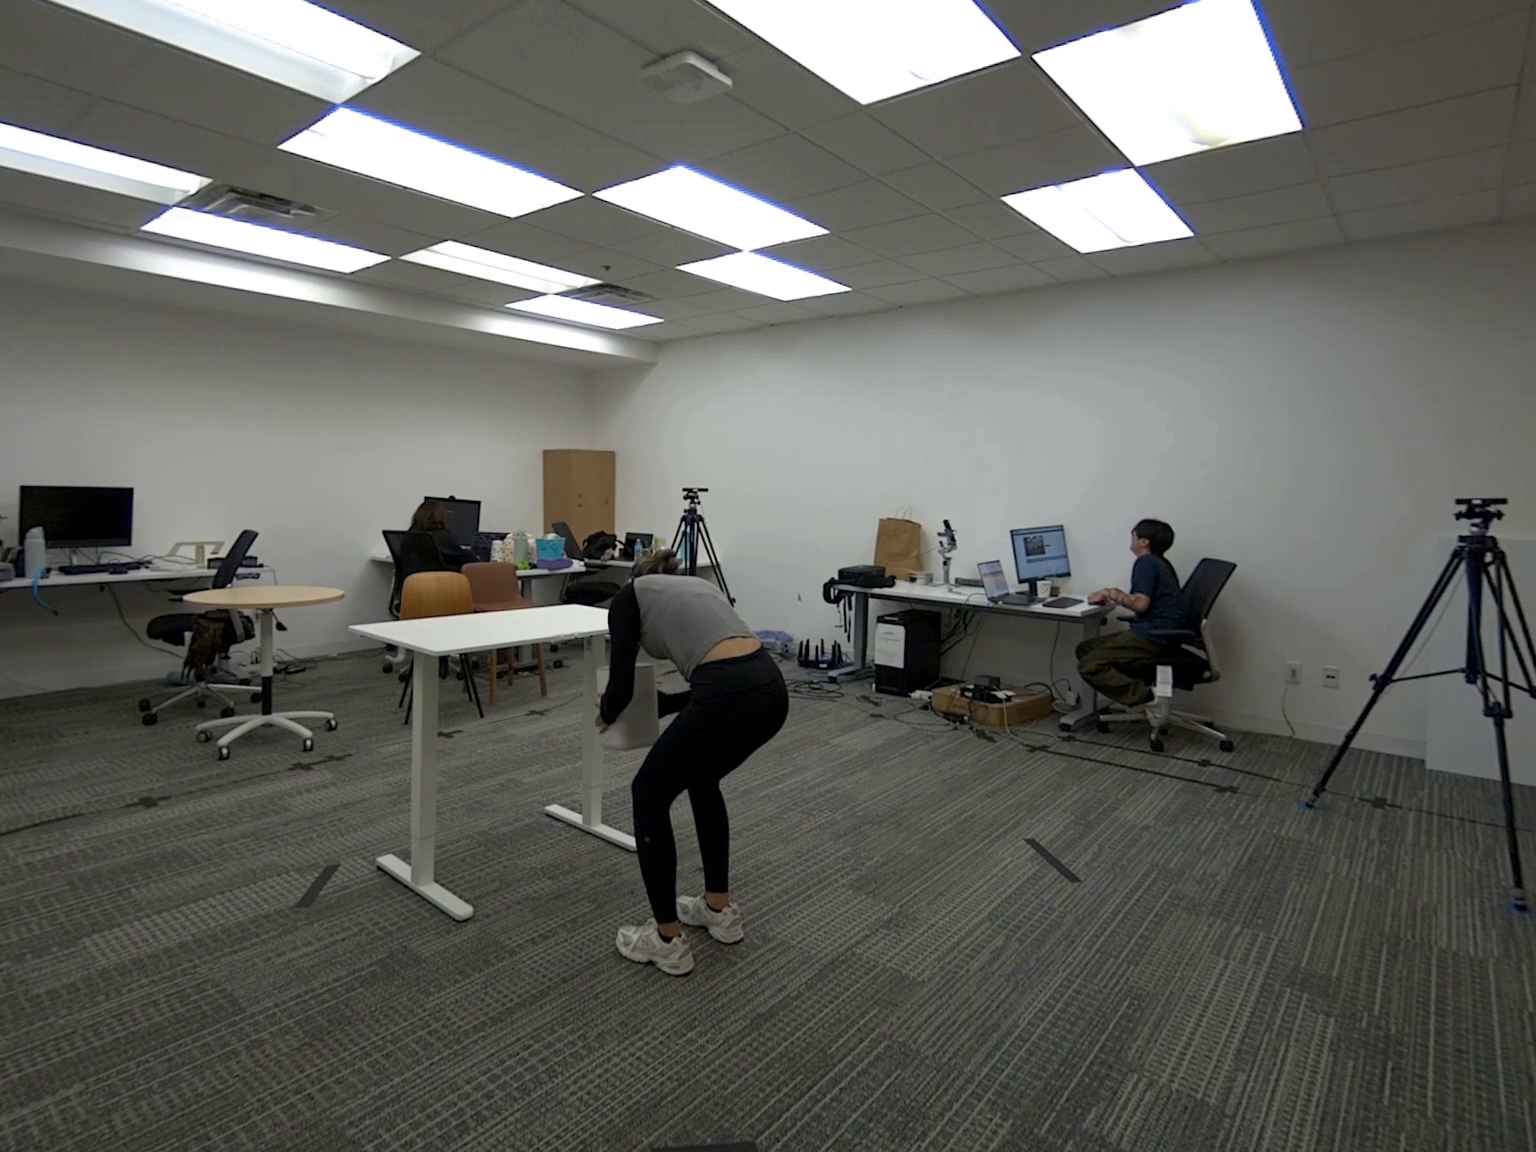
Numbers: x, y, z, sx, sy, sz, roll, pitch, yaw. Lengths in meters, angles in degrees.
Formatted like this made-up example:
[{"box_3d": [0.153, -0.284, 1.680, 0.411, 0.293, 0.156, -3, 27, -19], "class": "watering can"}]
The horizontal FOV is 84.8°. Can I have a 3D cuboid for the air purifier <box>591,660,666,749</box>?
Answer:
[{"box_3d": [-0.467, 0.418, 2.799, 0.176, 0.267, 0.165, -7, -8, 45], "class": "air purifier"}]
